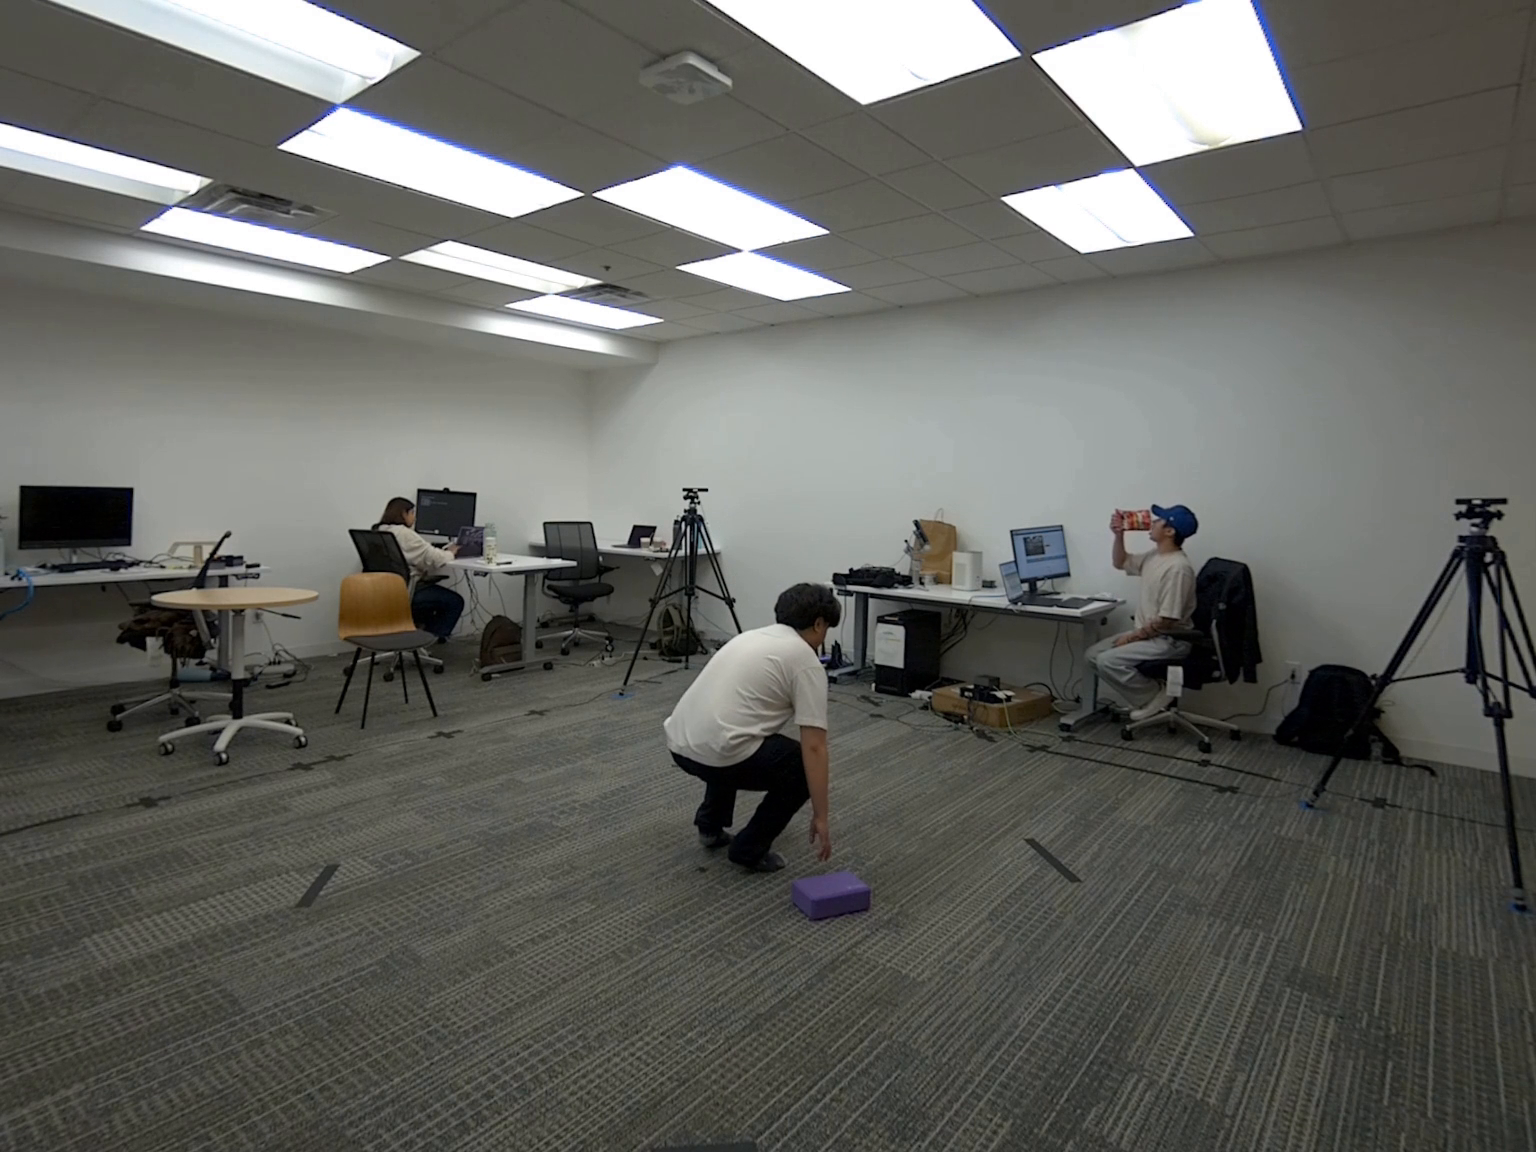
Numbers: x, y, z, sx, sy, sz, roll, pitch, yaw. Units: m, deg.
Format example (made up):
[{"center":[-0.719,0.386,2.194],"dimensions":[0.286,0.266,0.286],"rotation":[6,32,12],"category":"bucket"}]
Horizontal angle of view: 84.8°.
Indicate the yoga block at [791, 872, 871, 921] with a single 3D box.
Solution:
[{"center":[0.202,1.063,2.855],"dimensions":[0.224,0.076,0.153],"rotation":[-1,5,-24],"category":"yoga block"}]
